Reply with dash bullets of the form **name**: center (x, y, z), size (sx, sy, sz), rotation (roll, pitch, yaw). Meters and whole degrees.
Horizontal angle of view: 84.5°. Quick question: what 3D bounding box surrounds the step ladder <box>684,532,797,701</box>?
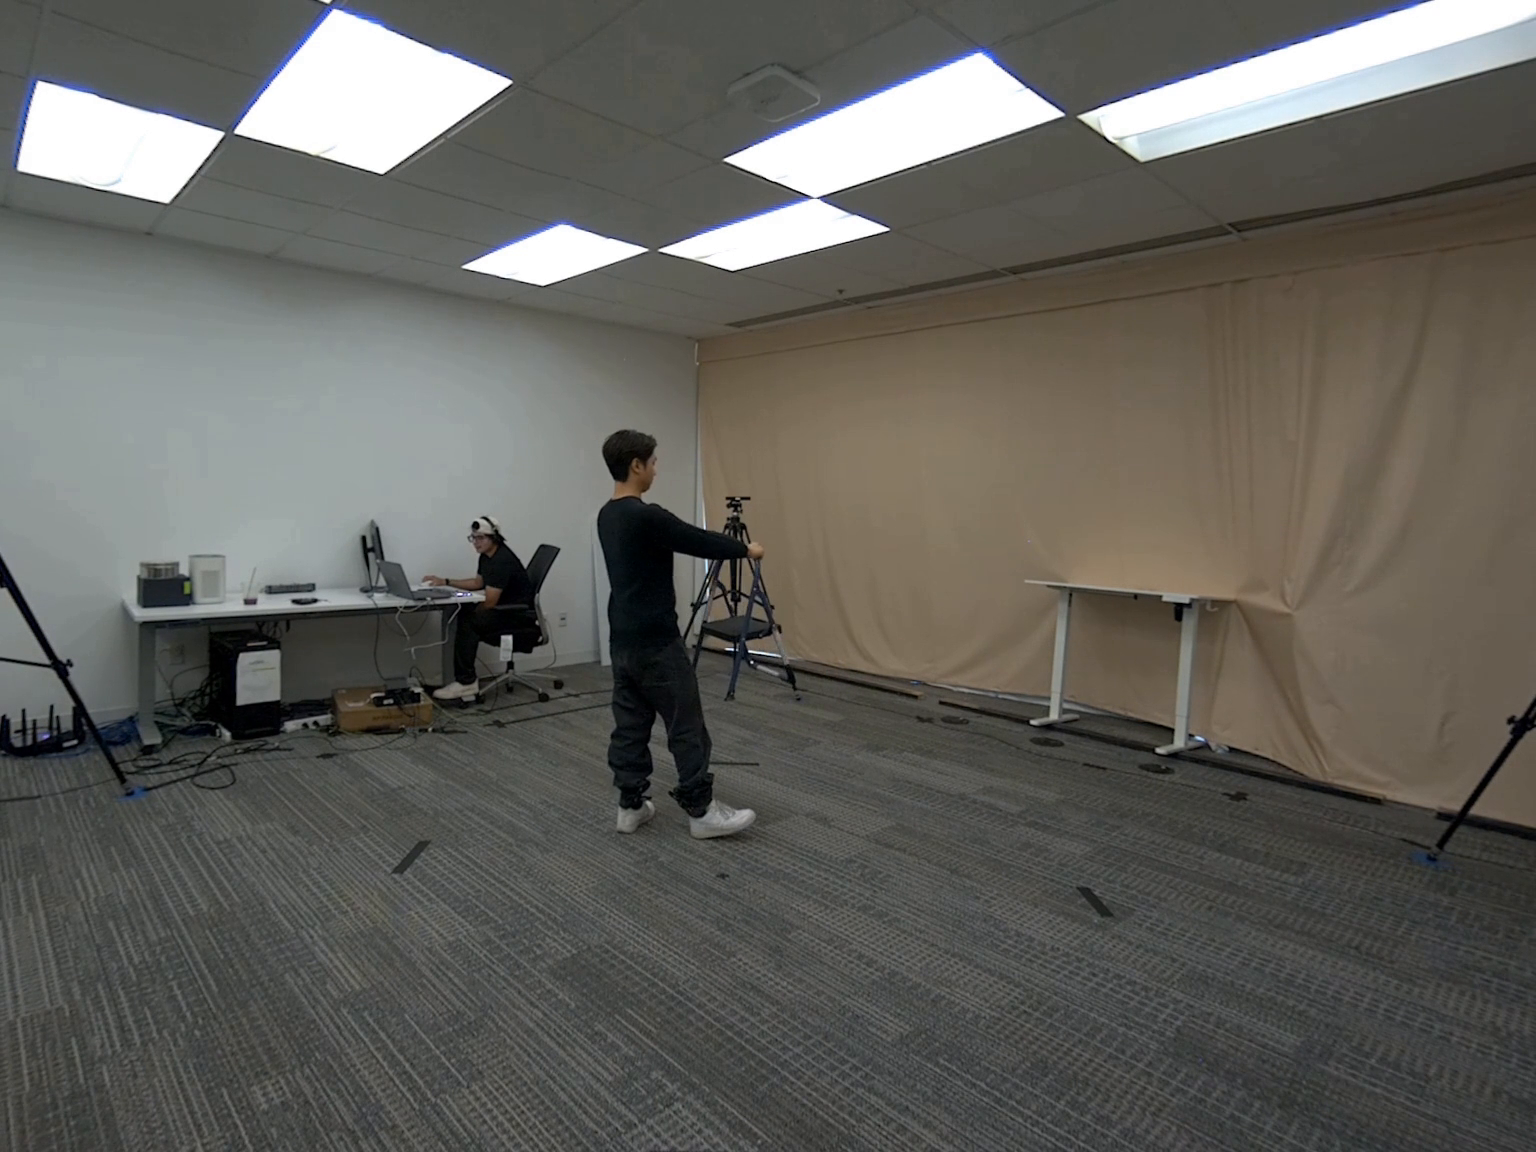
- **step ladder**: center (-0.163, 0.180, 3.725), size (0.343, 0.602, 0.440), rotation (-9, 8, -28)
